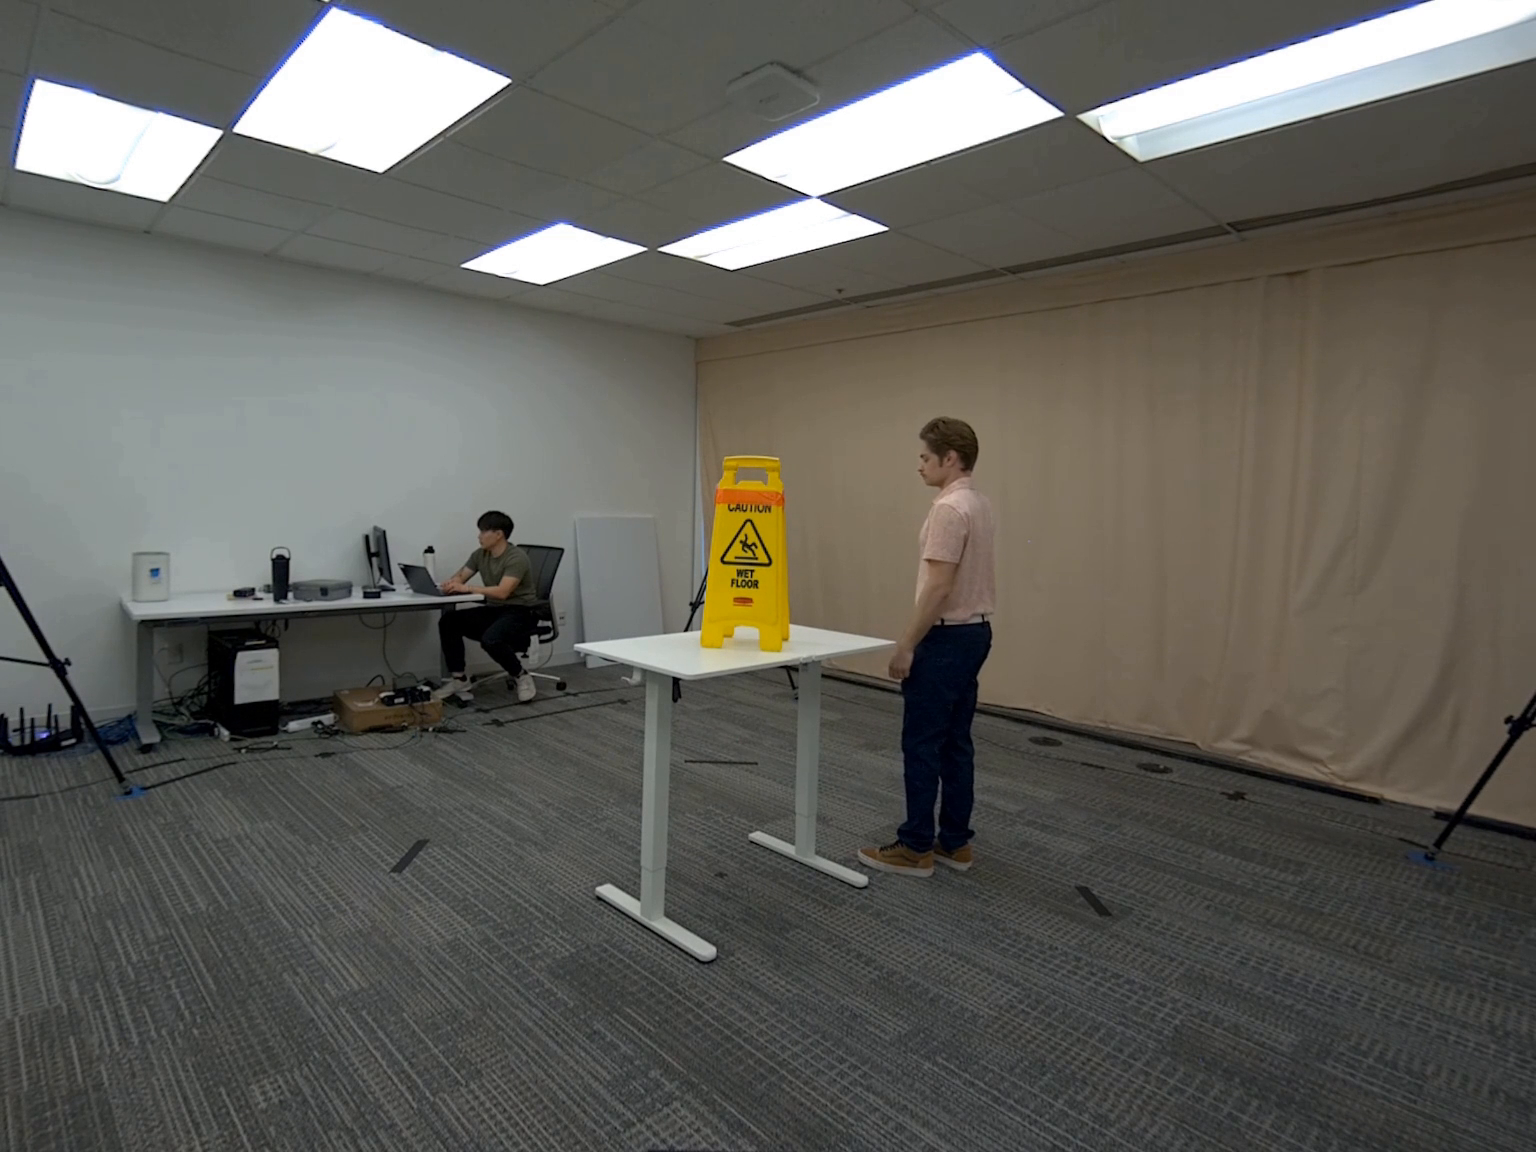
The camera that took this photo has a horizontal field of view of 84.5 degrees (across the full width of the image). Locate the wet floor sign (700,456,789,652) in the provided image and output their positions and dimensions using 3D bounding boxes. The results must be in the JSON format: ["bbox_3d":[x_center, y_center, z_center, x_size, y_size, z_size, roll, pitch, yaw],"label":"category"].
[{"bbox_3d":[-0.067,-0.085,2.922,0.284,0.645,0.288,3,2,7],"label":"wet floor sign"}]
